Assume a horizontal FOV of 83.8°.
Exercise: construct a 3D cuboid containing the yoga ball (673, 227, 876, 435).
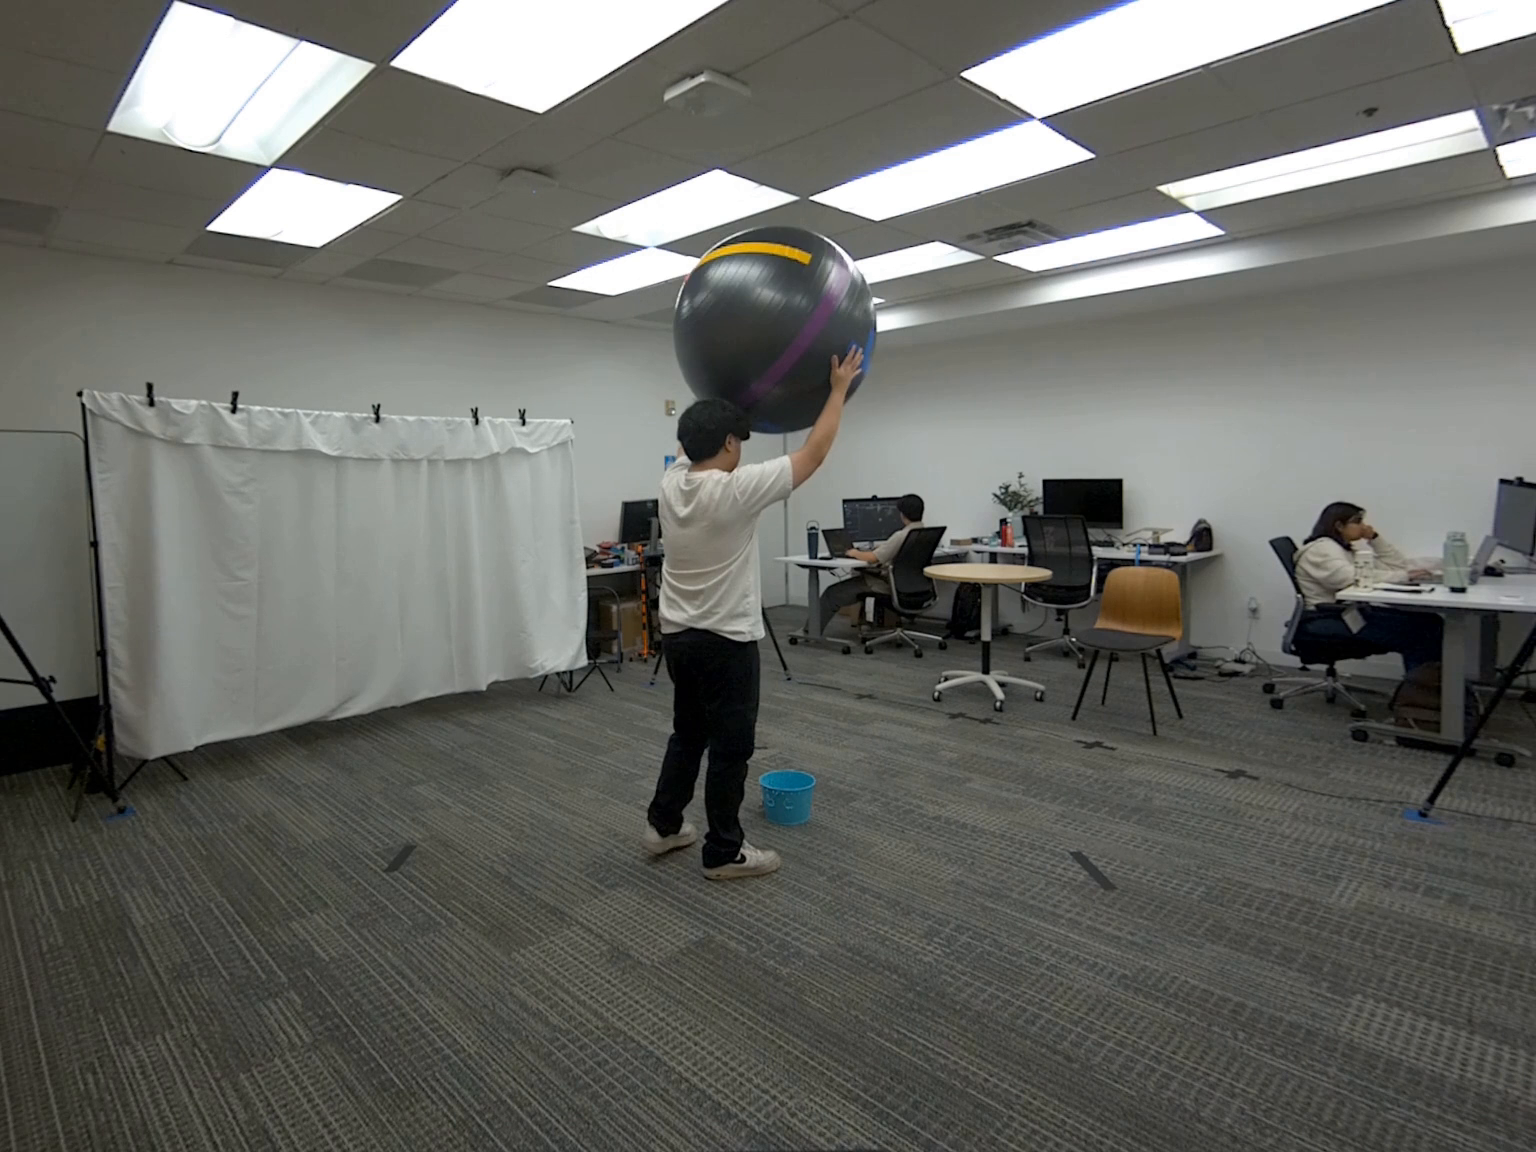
[{"bbox_3d":[0.021,-0.905,3.207,0.757,0.755,0.762,-1,5,-2],"label":"yoga ball"}]
